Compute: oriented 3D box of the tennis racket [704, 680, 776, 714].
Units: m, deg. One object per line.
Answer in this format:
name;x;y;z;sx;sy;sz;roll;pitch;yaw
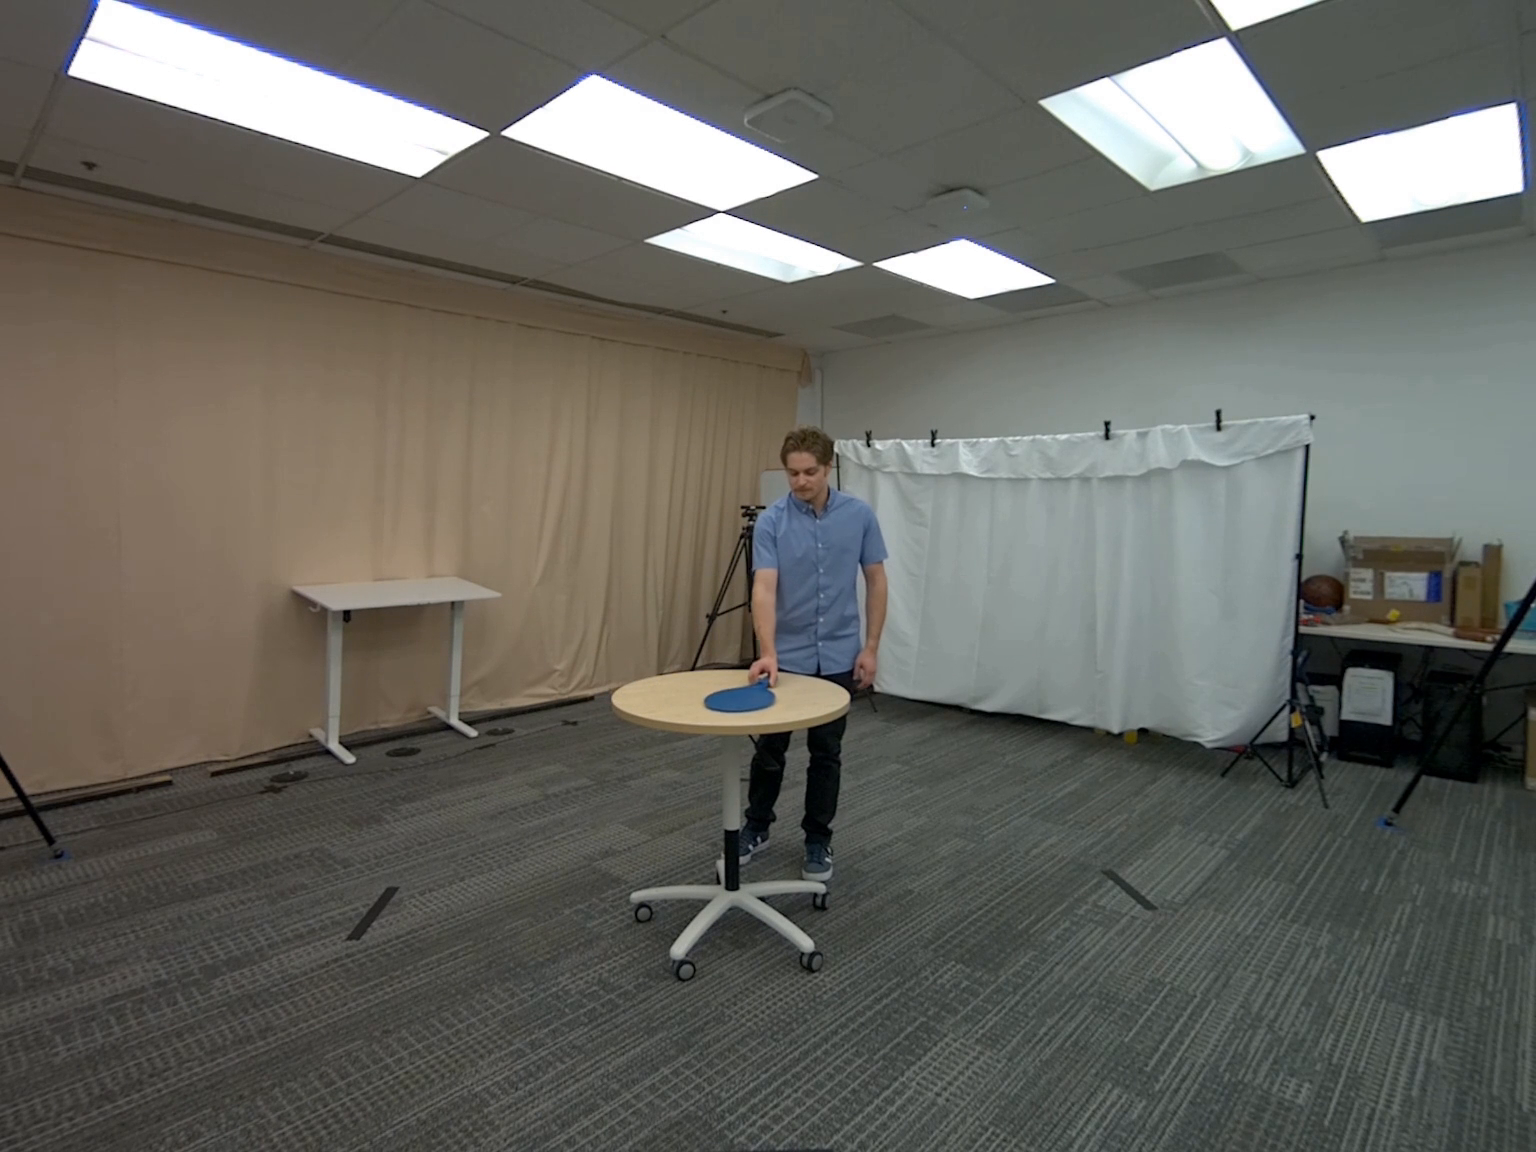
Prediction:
tennis racket;-0.053;0.376;2.683;0.219;0.031;0.424;3;8;23
